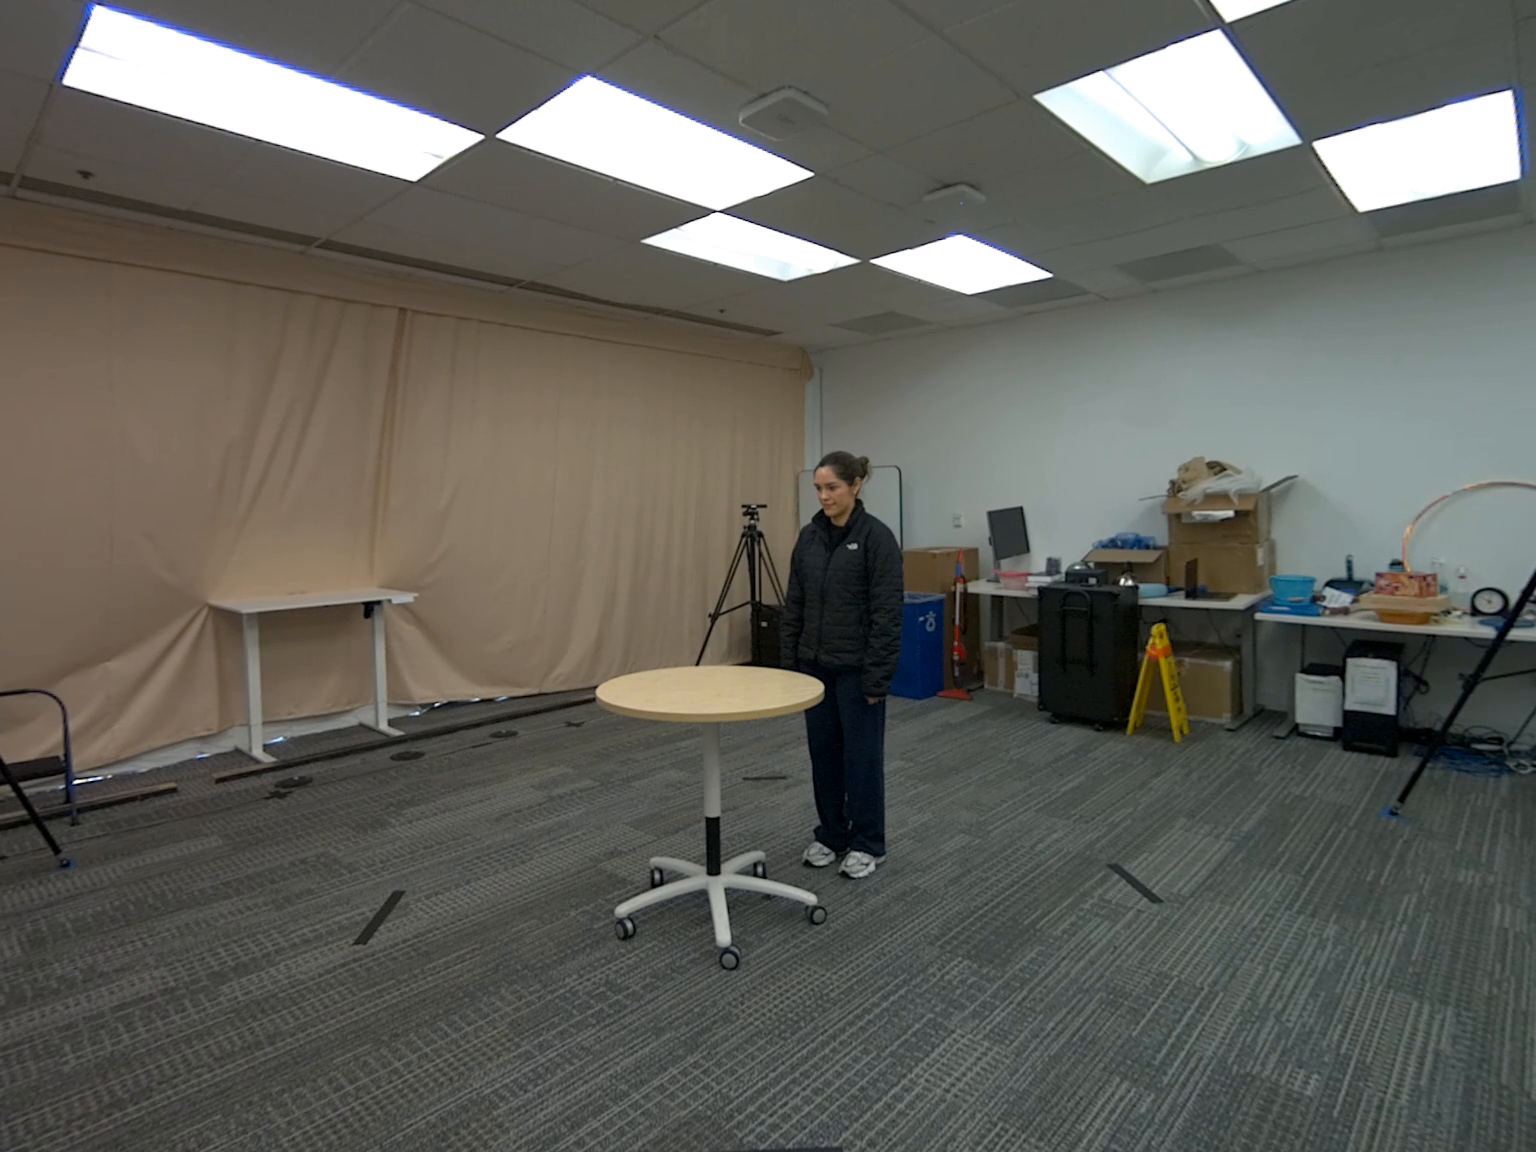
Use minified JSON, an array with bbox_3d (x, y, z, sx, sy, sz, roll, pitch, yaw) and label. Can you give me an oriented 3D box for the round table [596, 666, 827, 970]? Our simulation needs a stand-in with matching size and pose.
[{"bbox_3d":[-0.156,0.760,2.863,0.784,0.785,0.788,-1,4,-2],"label":"round table"}]
